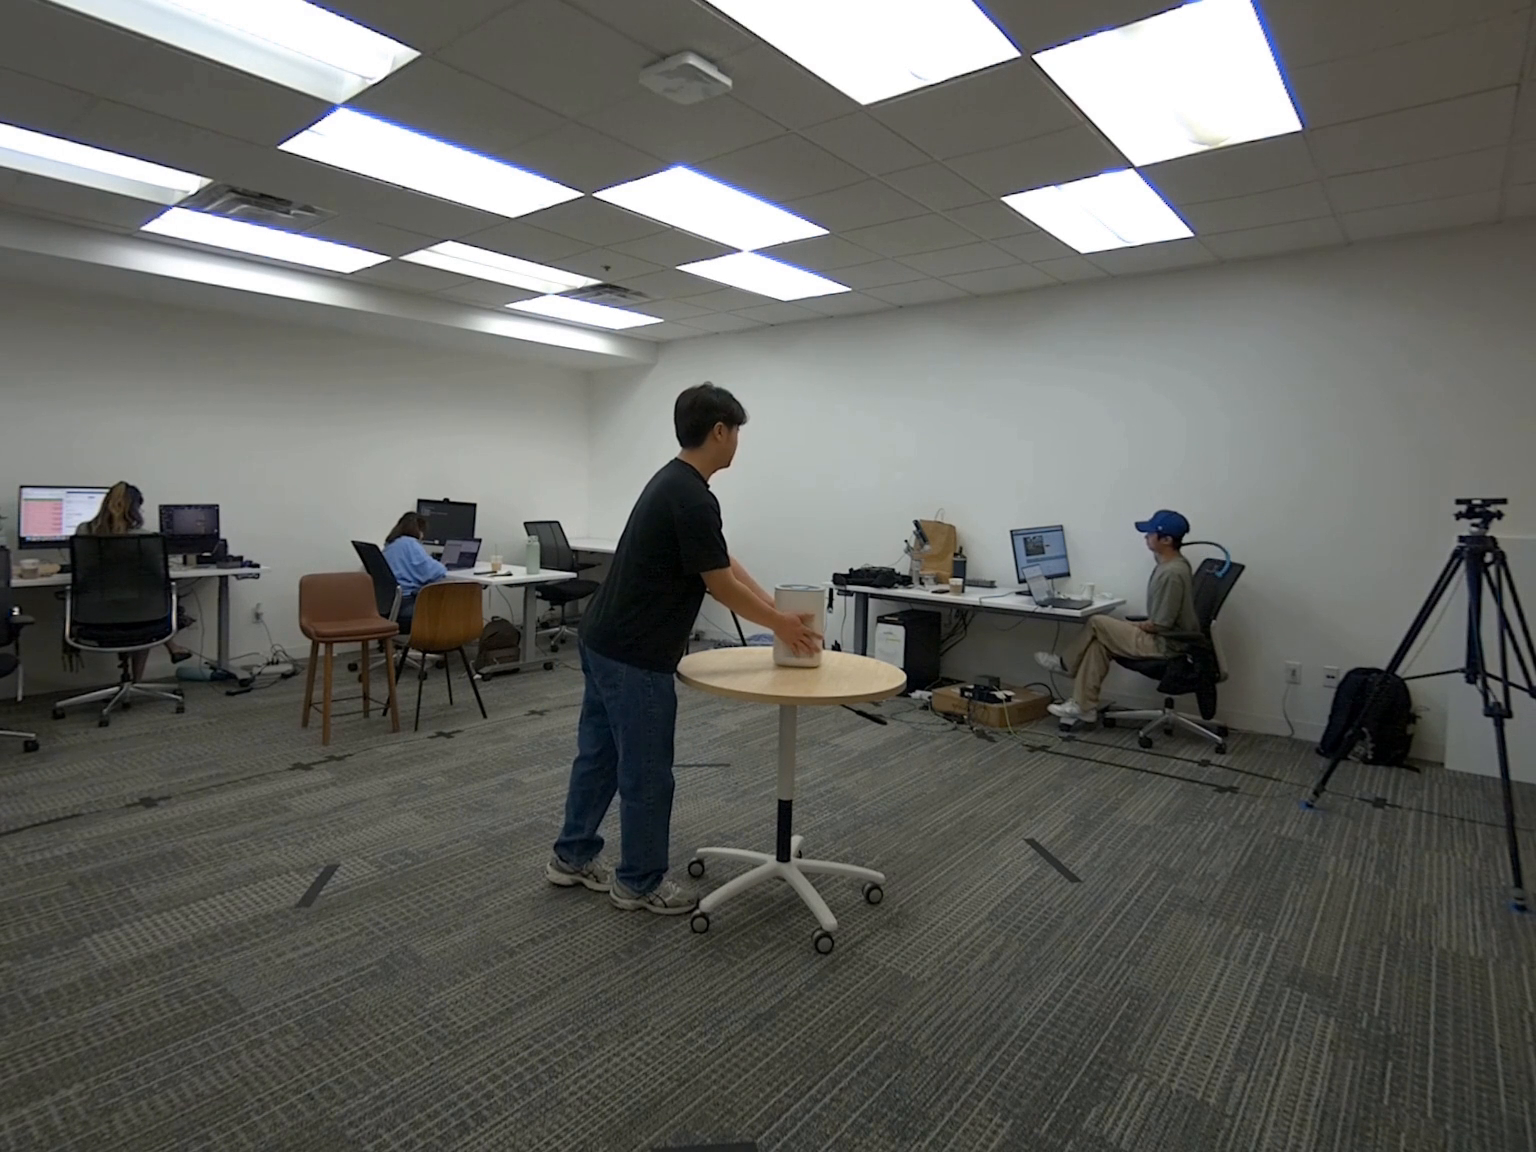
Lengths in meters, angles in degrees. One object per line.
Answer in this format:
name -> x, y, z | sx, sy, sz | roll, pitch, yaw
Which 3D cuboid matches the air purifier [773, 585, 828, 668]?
air purifier -> 0.093, 0.169, 2.920 | 0.172, 0.264, 0.171 | 2, 4, 1
